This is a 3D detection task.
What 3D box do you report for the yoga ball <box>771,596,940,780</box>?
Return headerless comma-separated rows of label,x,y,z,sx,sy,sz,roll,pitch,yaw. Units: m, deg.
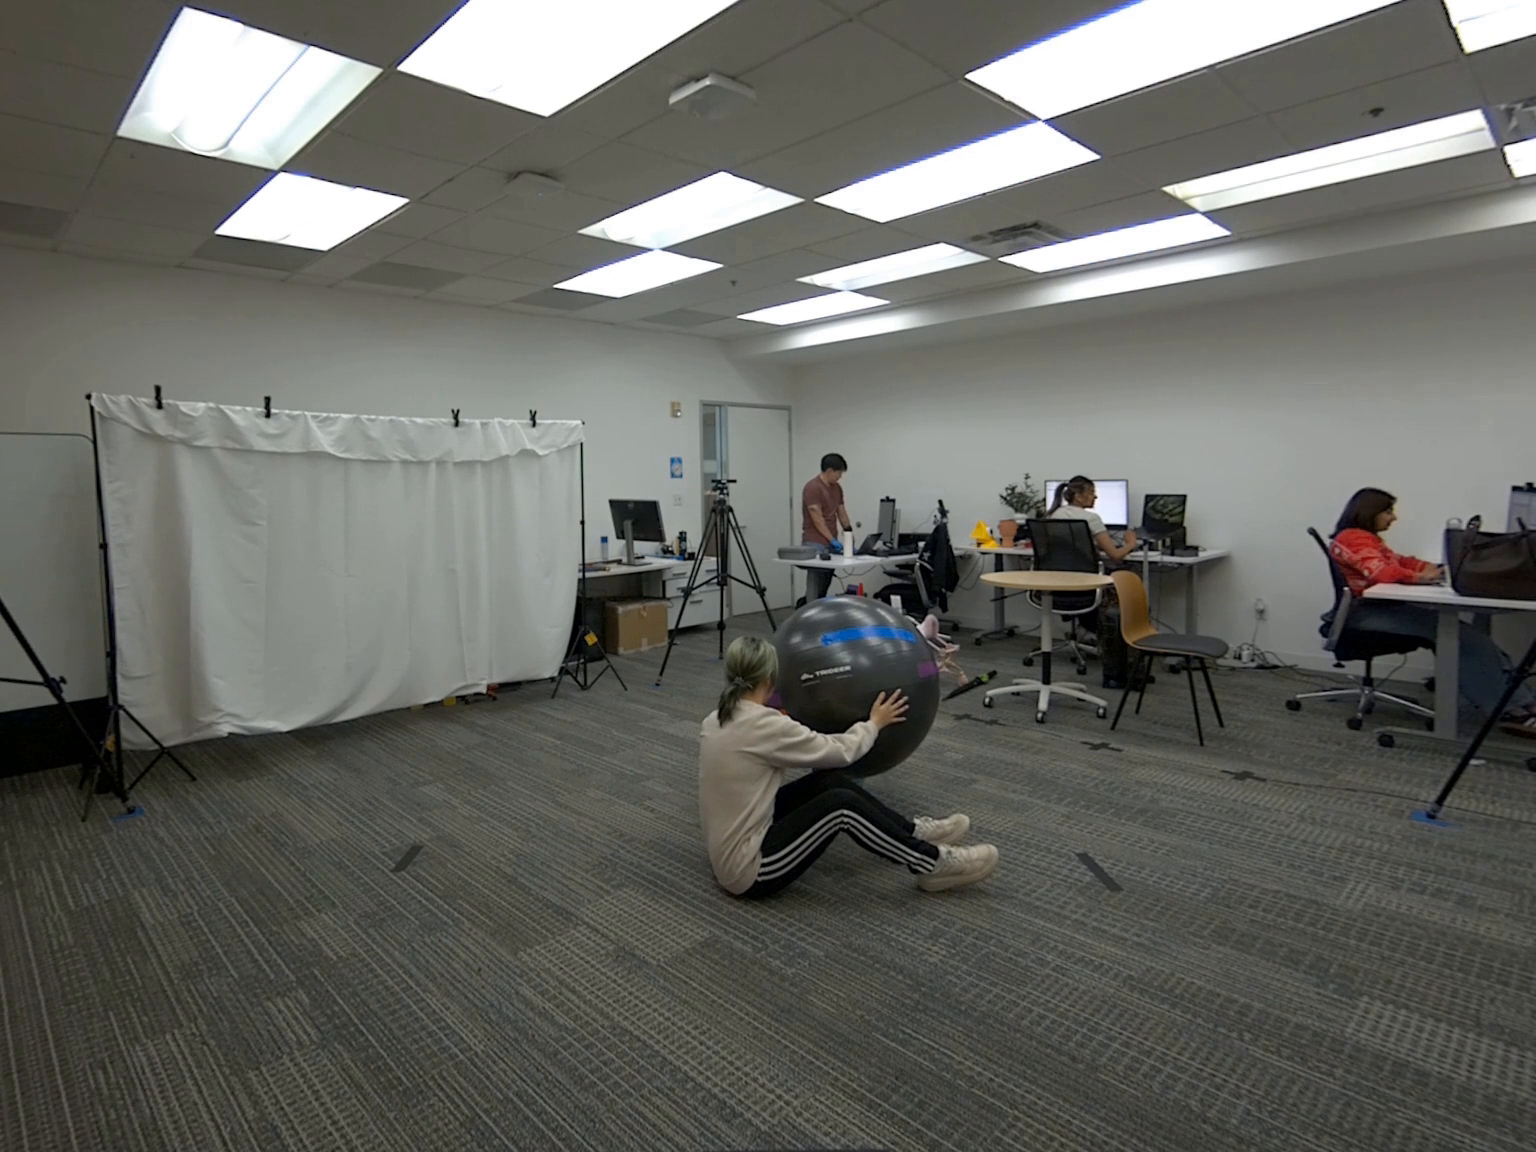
yoga ball,0.335,0.469,3.624,0.757,0.755,0.762,-1,5,-2
